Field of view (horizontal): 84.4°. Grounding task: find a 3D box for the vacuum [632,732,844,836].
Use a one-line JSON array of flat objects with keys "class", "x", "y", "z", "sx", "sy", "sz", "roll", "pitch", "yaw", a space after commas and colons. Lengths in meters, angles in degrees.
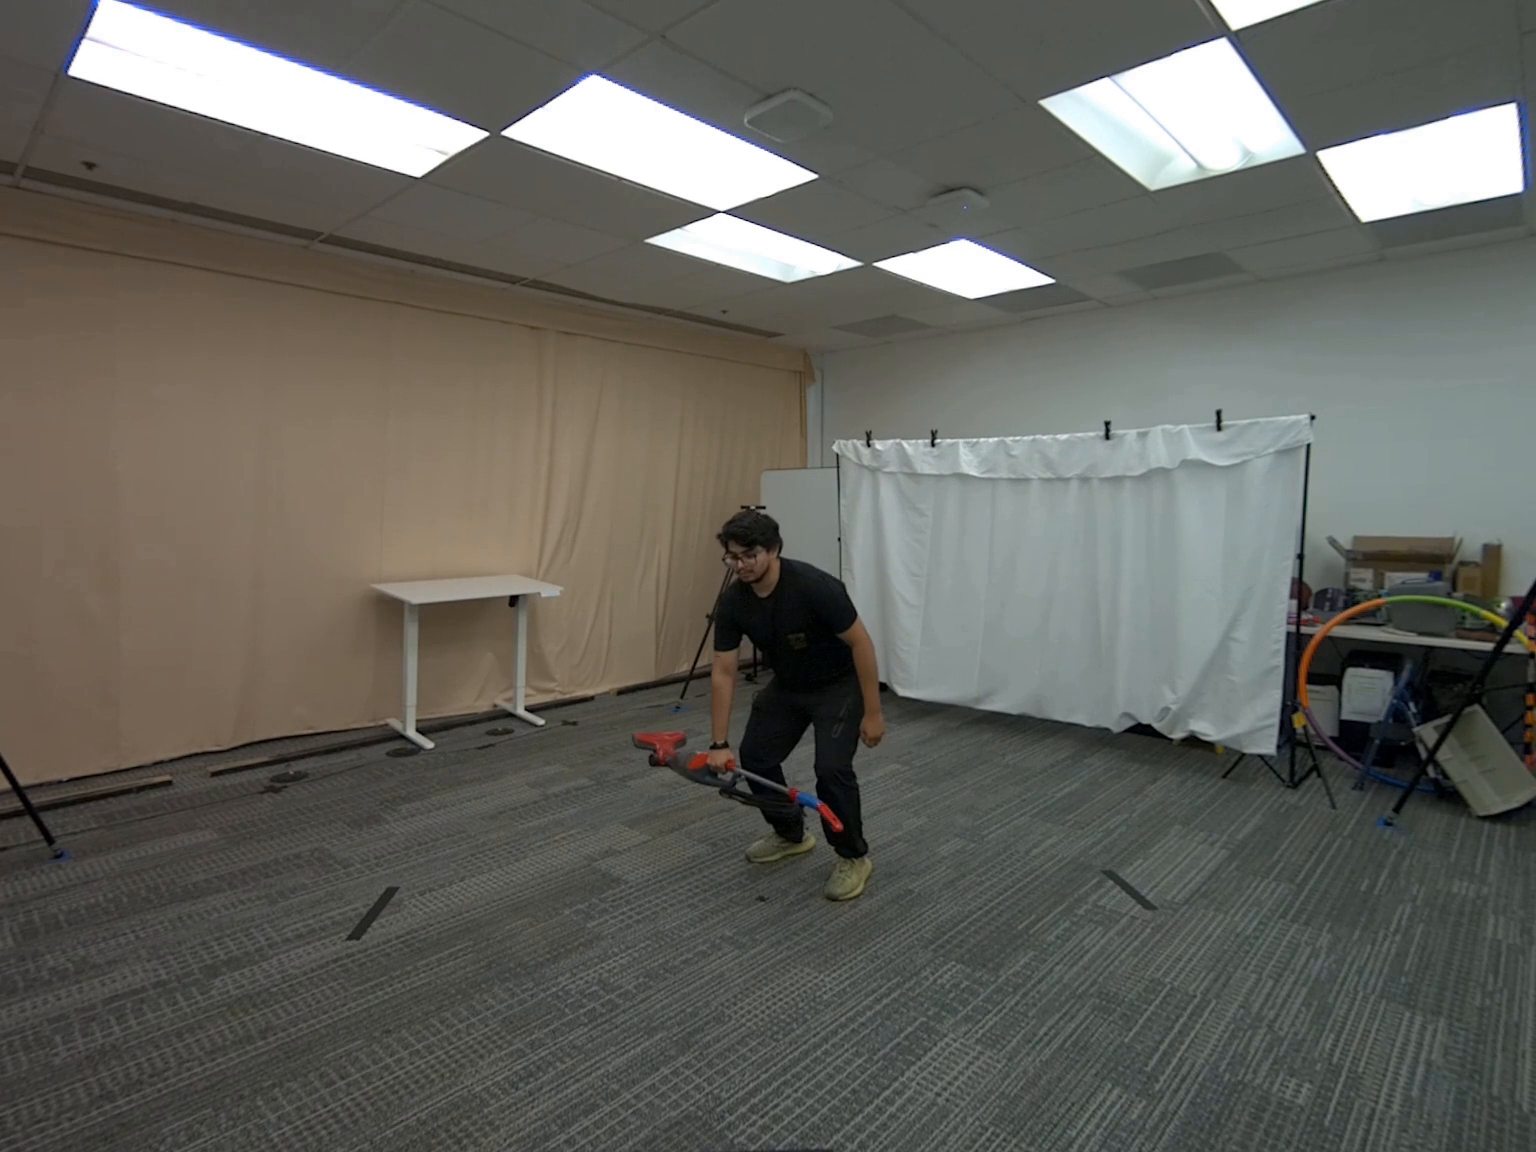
[{"class": "vacuum", "x": -0.111, "y": 0.759, "z": 3.032, "sx": 0.244, "sy": 0.144, "sz": 1.083, "roll": 11, "pitch": -1, "yaw": -36}]
